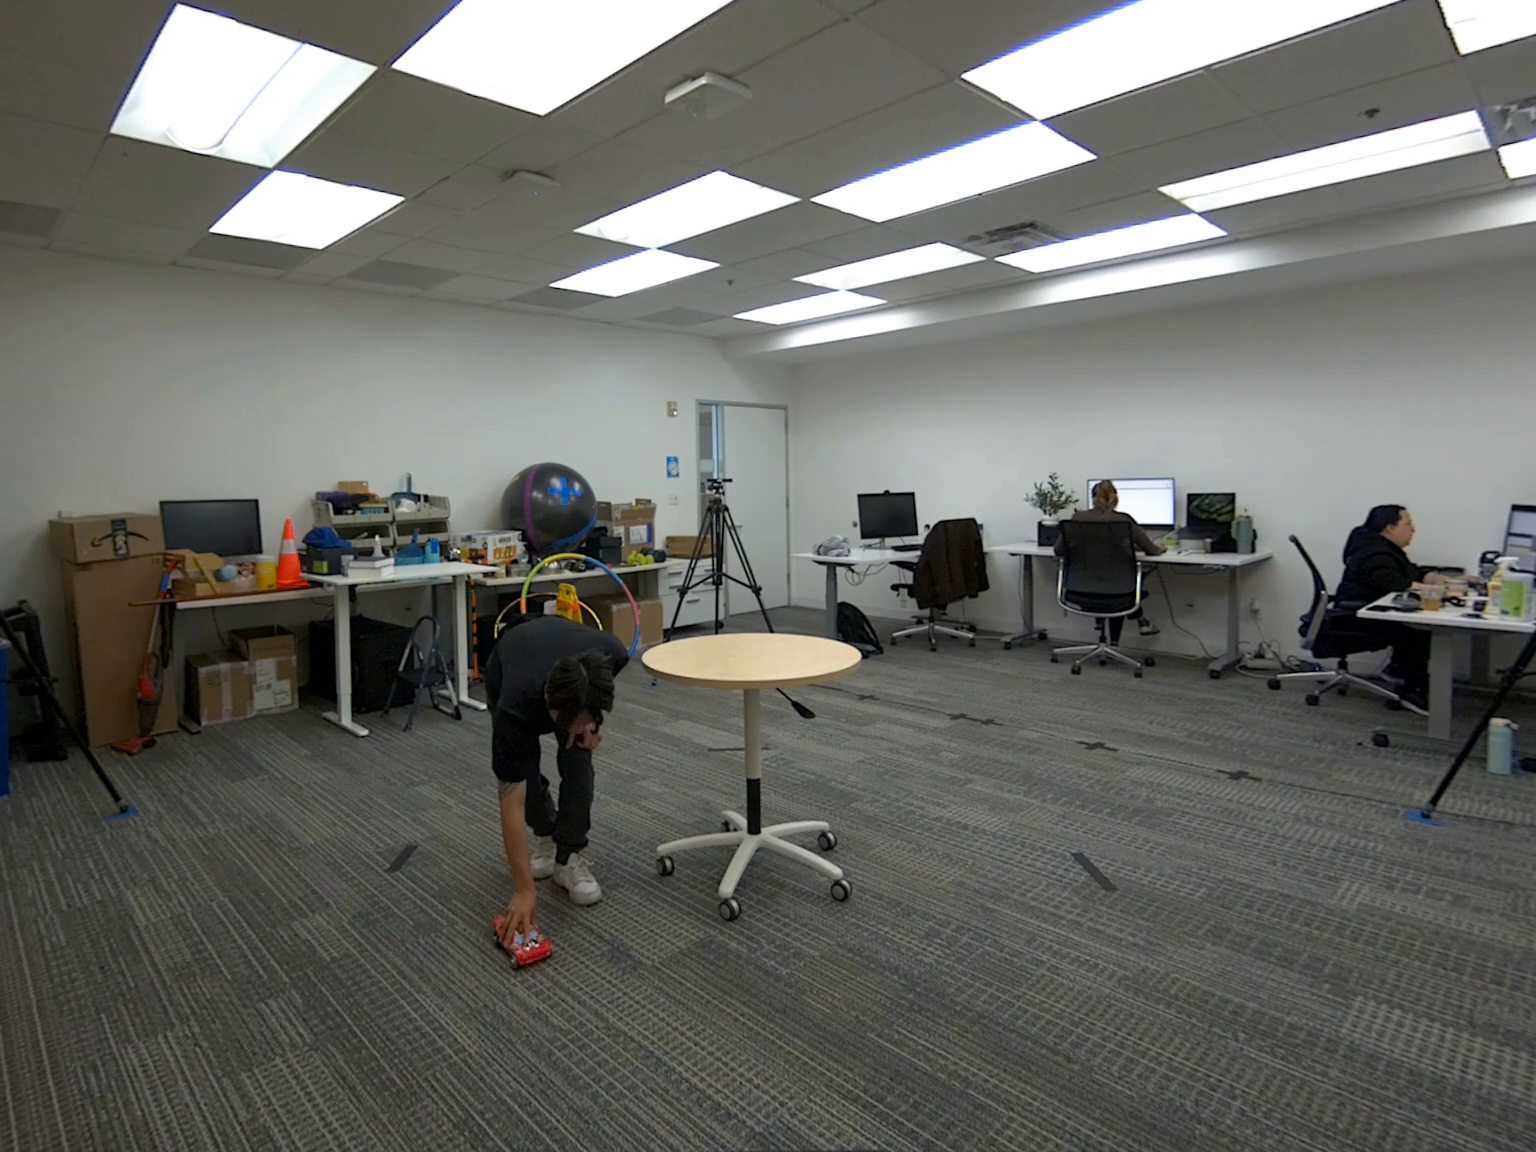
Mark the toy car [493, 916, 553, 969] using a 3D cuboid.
[{"bbox_3d":[-0.747,1.097,2.570,0.127,0.082,0.264,-6,18,-35],"label":"toy car"}]
